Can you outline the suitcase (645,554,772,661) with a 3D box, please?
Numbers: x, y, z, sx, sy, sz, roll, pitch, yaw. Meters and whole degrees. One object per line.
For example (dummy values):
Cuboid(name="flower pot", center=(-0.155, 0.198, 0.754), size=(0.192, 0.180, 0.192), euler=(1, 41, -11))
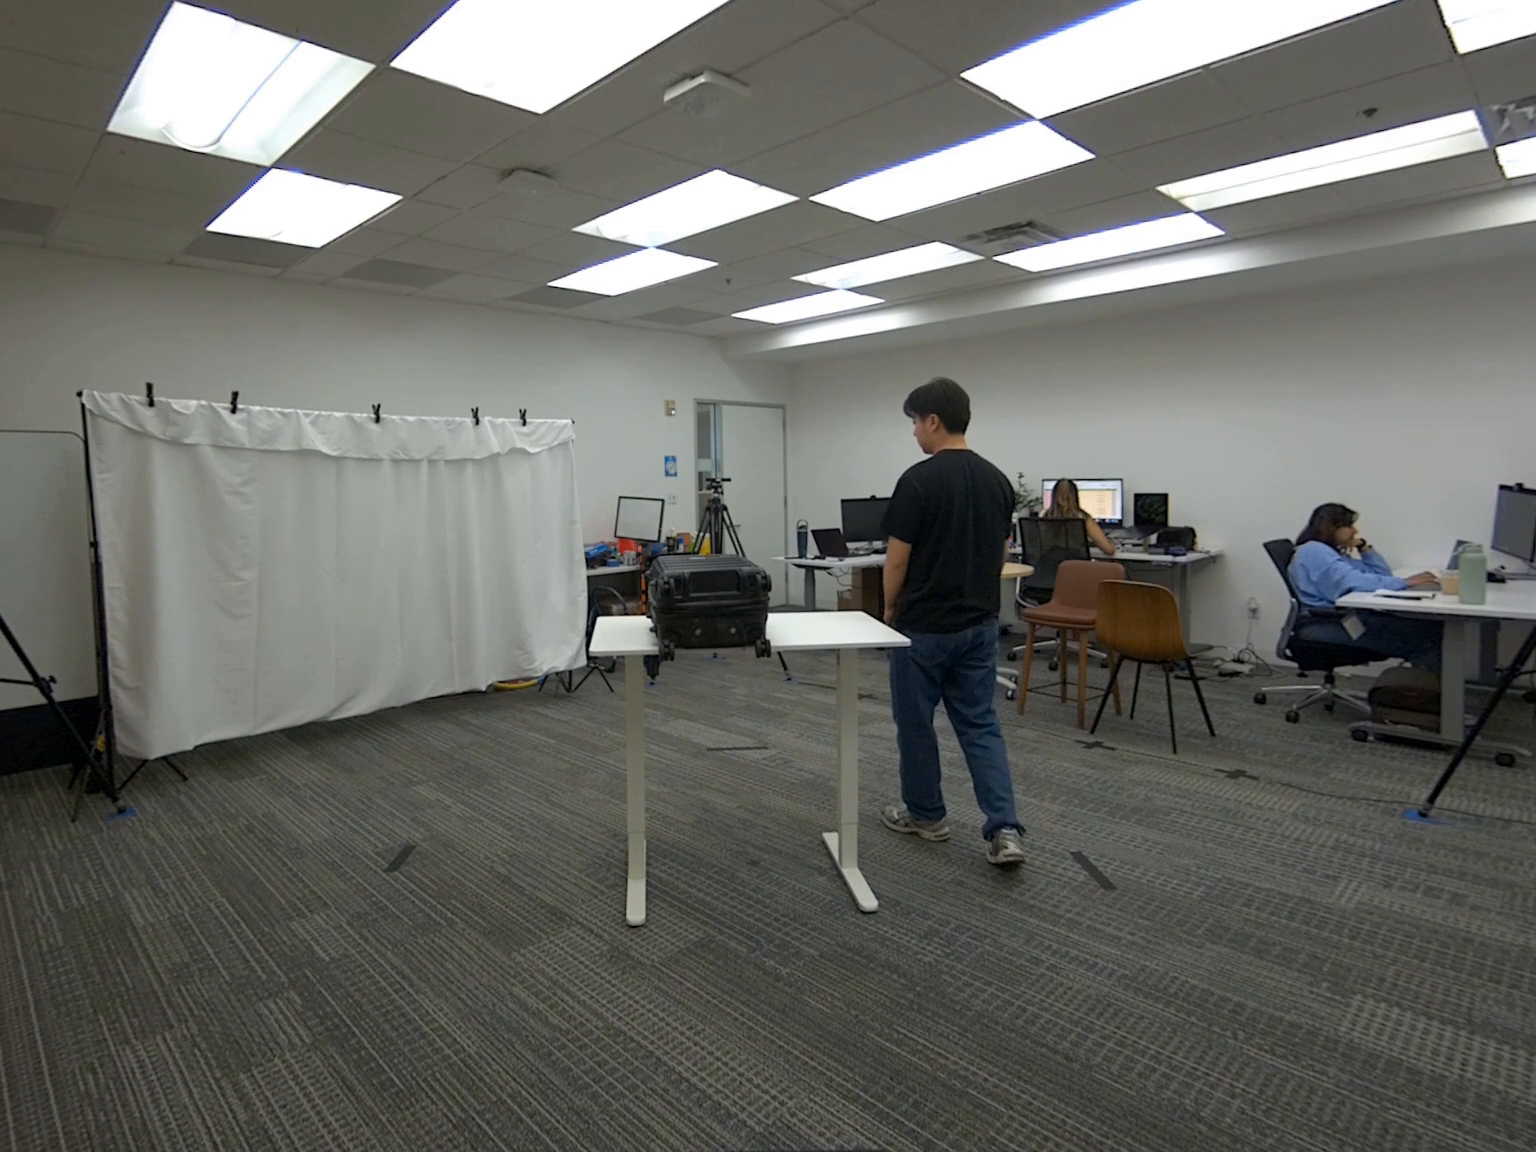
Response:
Cuboid(name="suitcase", center=(-0.240, 0.050, 2.995), size=(0.380, 0.255, 0.994), euler=(-3, 9, -11))
